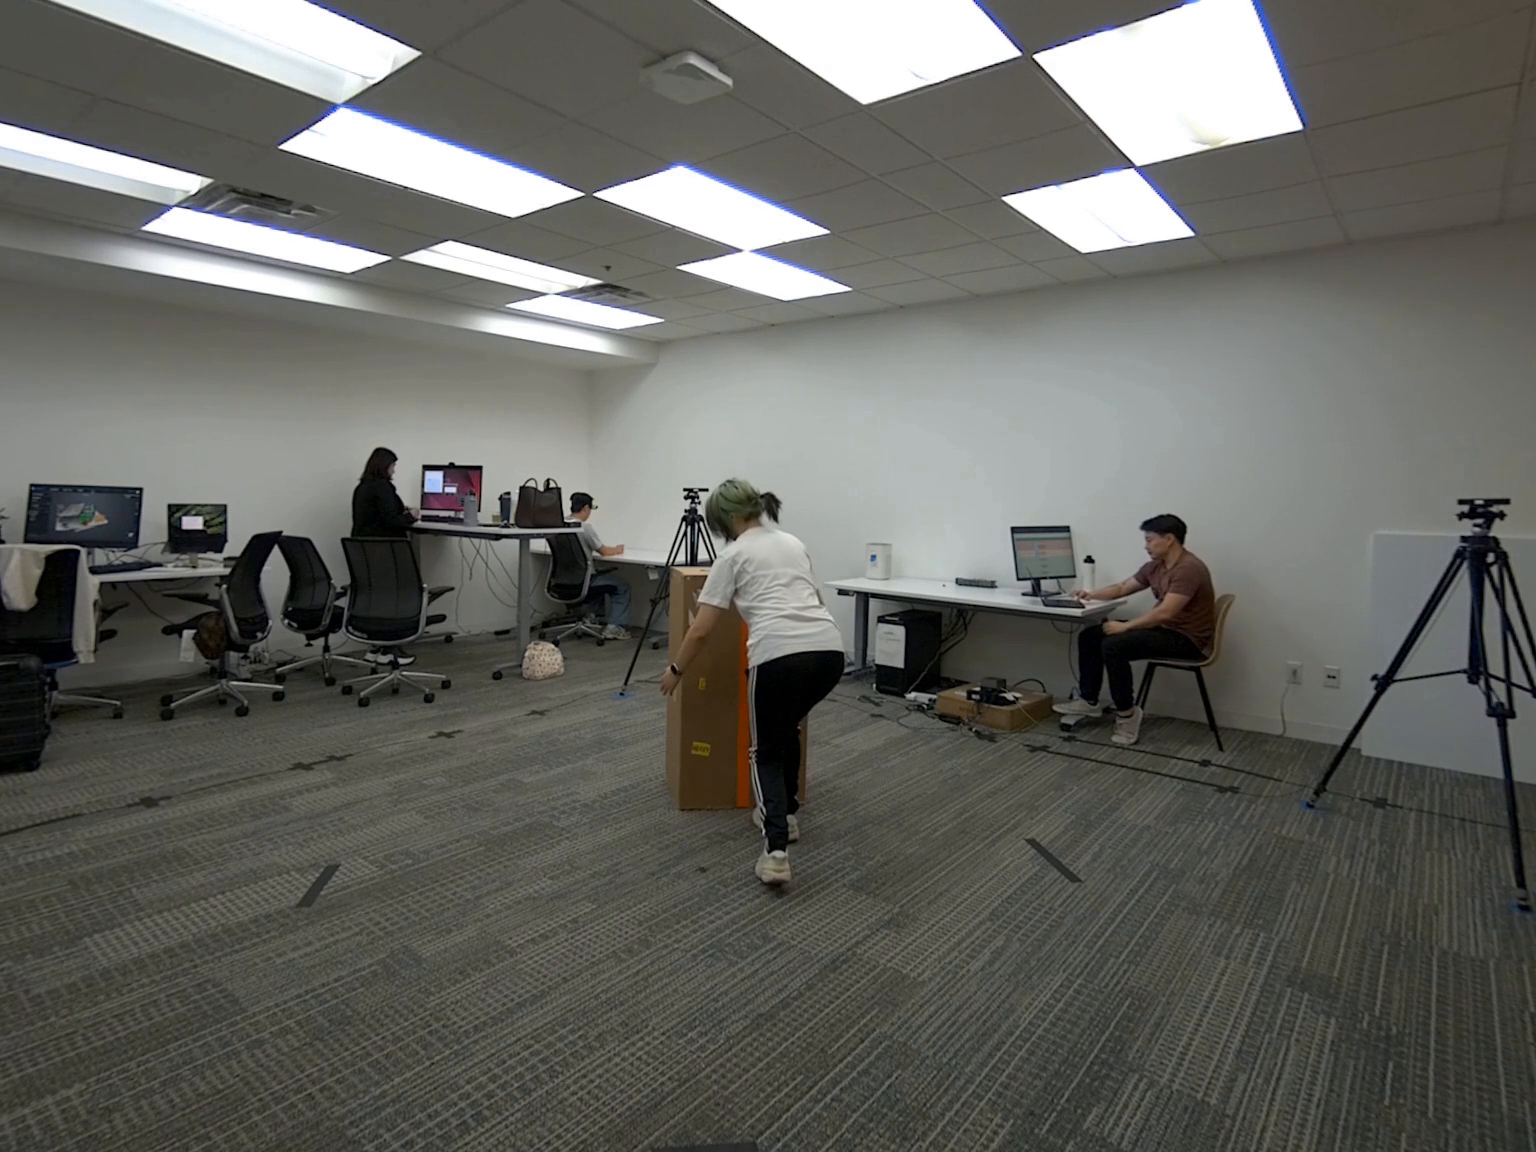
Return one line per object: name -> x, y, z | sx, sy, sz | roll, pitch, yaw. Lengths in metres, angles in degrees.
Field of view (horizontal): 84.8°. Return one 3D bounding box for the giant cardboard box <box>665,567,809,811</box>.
giant cardboard box -> -0.159, 0.487, 3.911 | 0.576, 1.025, 0.454 | 1, 2, -14
